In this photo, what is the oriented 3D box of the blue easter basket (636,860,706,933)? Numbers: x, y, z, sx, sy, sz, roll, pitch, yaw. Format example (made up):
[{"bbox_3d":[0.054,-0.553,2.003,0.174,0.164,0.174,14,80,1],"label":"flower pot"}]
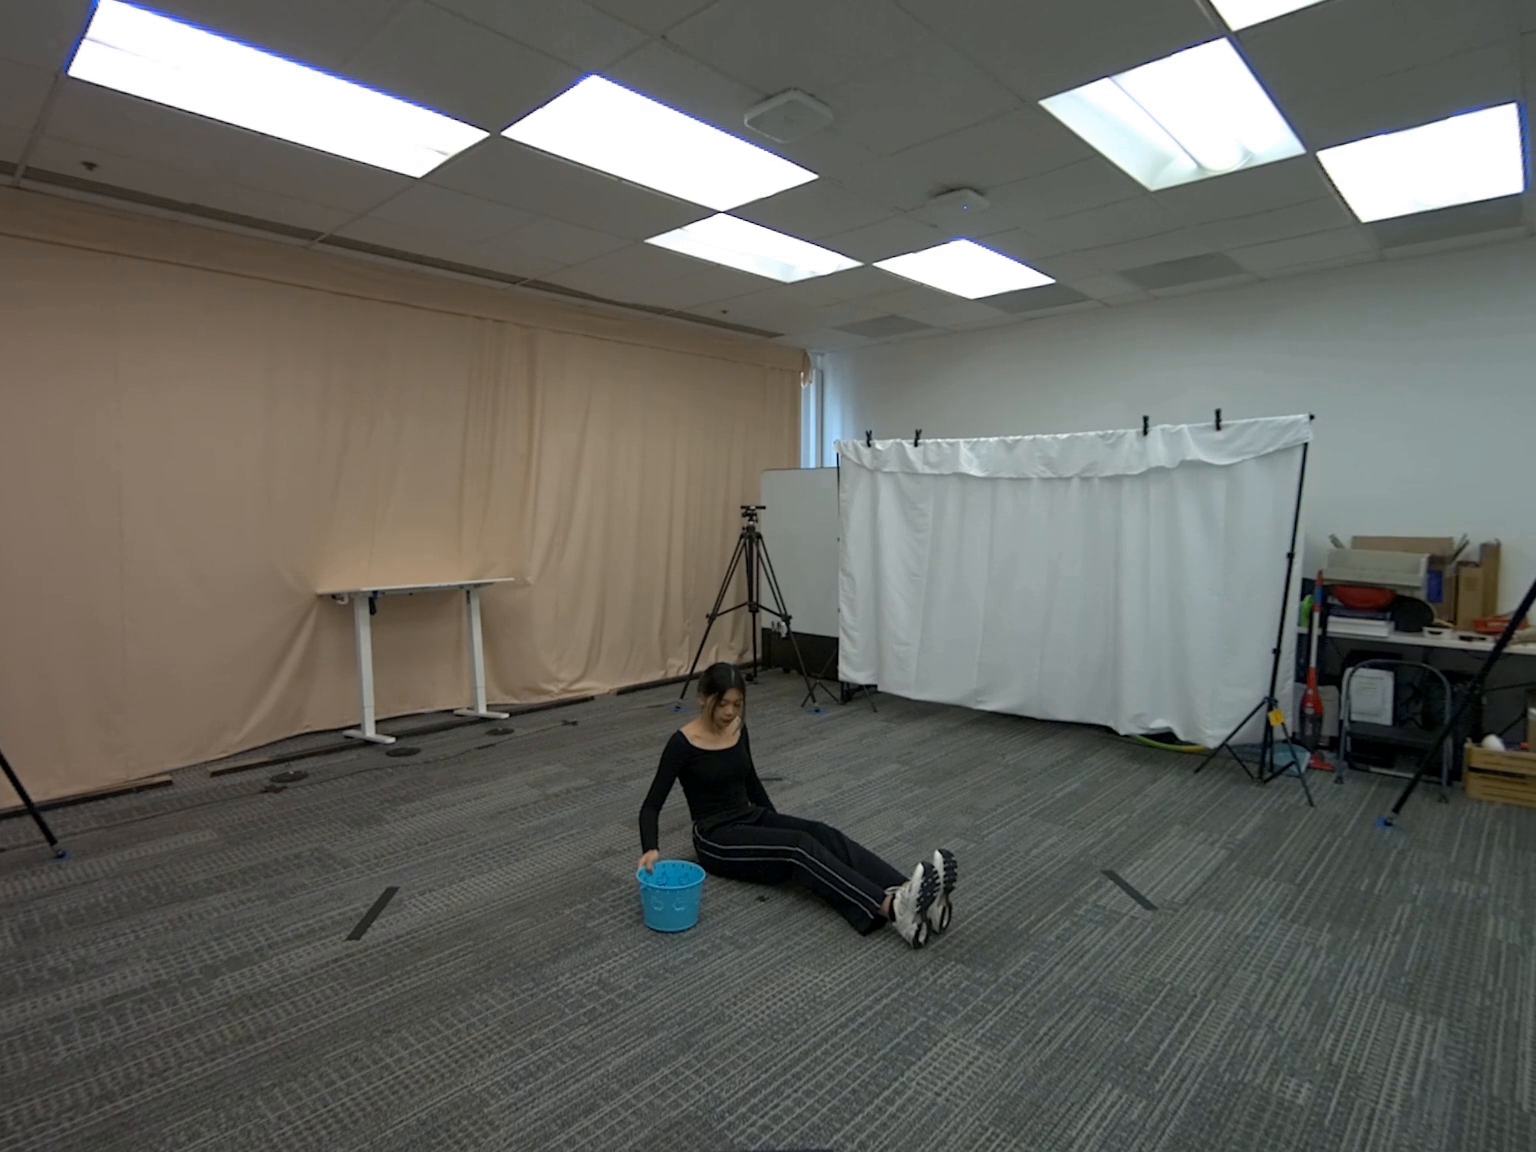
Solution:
[{"bbox_3d":[-0.331,1.071,2.837,0.243,0.156,0.244,0,2,-2],"label":"blue easter basket"}]
